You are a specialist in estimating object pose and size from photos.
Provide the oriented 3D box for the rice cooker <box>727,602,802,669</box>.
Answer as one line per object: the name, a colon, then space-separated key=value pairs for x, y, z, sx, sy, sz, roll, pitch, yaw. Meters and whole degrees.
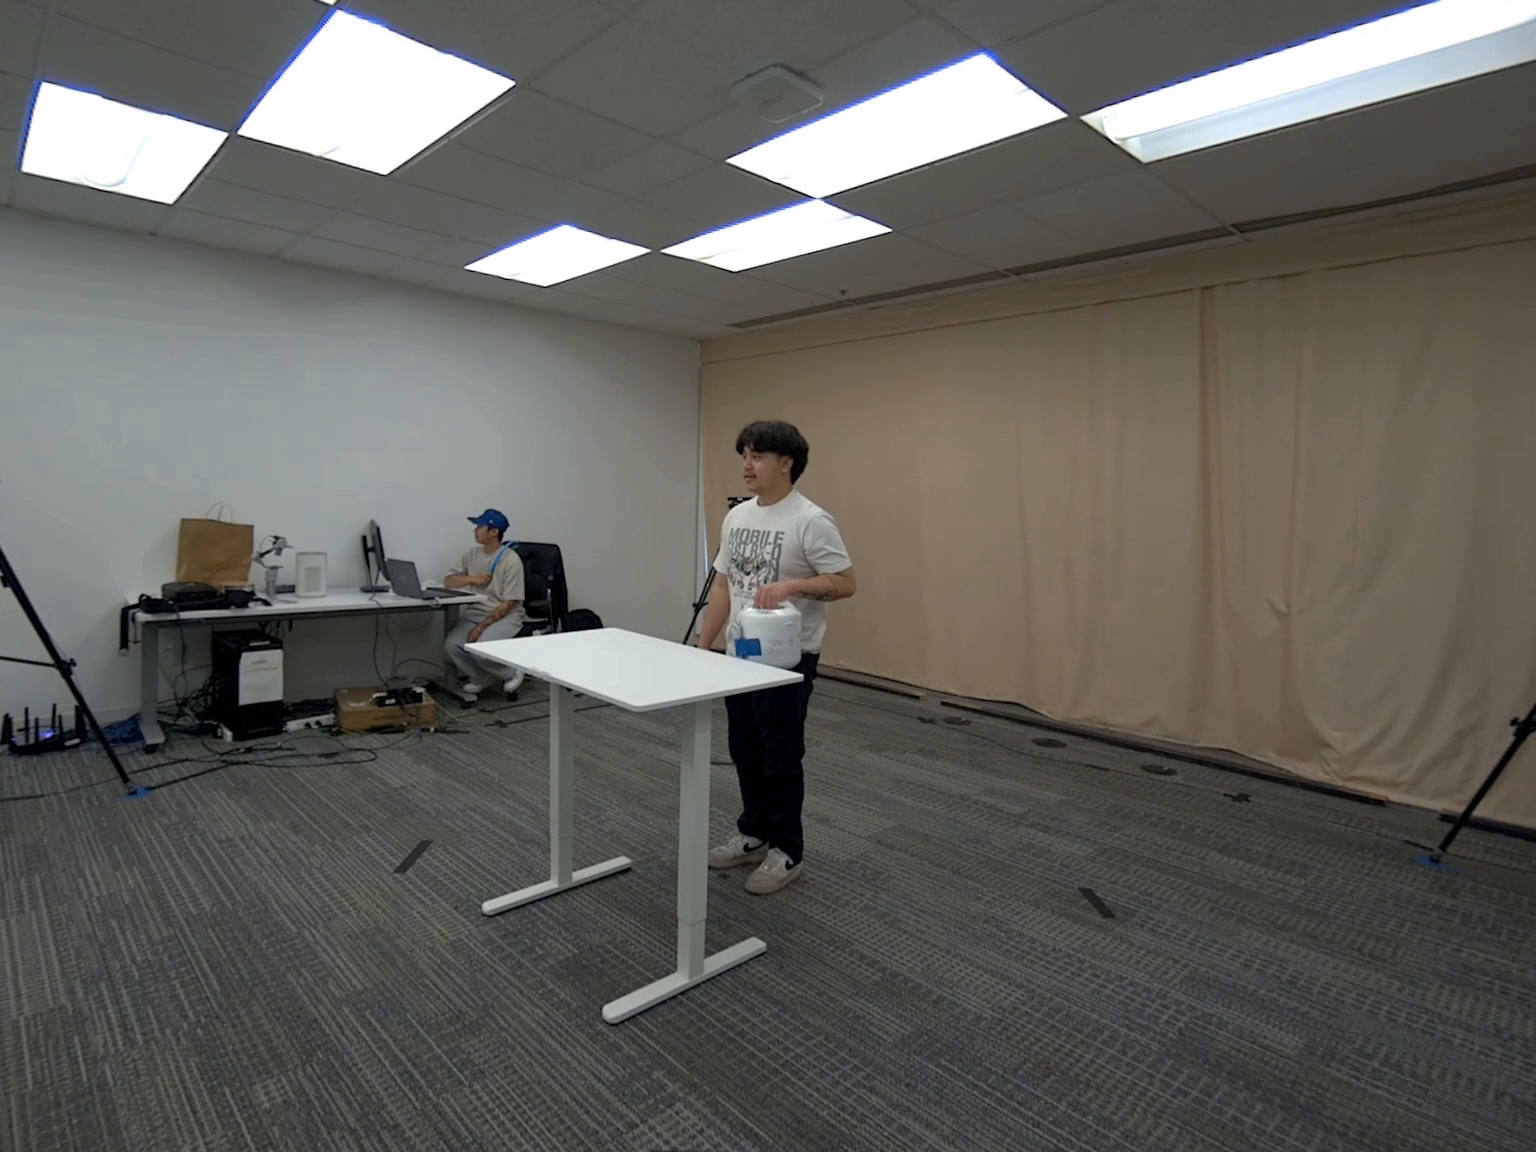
rice cooker: x=-0.010 y=0.191 z=2.842 sx=0.223 sy=0.232 sz=0.215 roll=1 pitch=7 yaw=17
